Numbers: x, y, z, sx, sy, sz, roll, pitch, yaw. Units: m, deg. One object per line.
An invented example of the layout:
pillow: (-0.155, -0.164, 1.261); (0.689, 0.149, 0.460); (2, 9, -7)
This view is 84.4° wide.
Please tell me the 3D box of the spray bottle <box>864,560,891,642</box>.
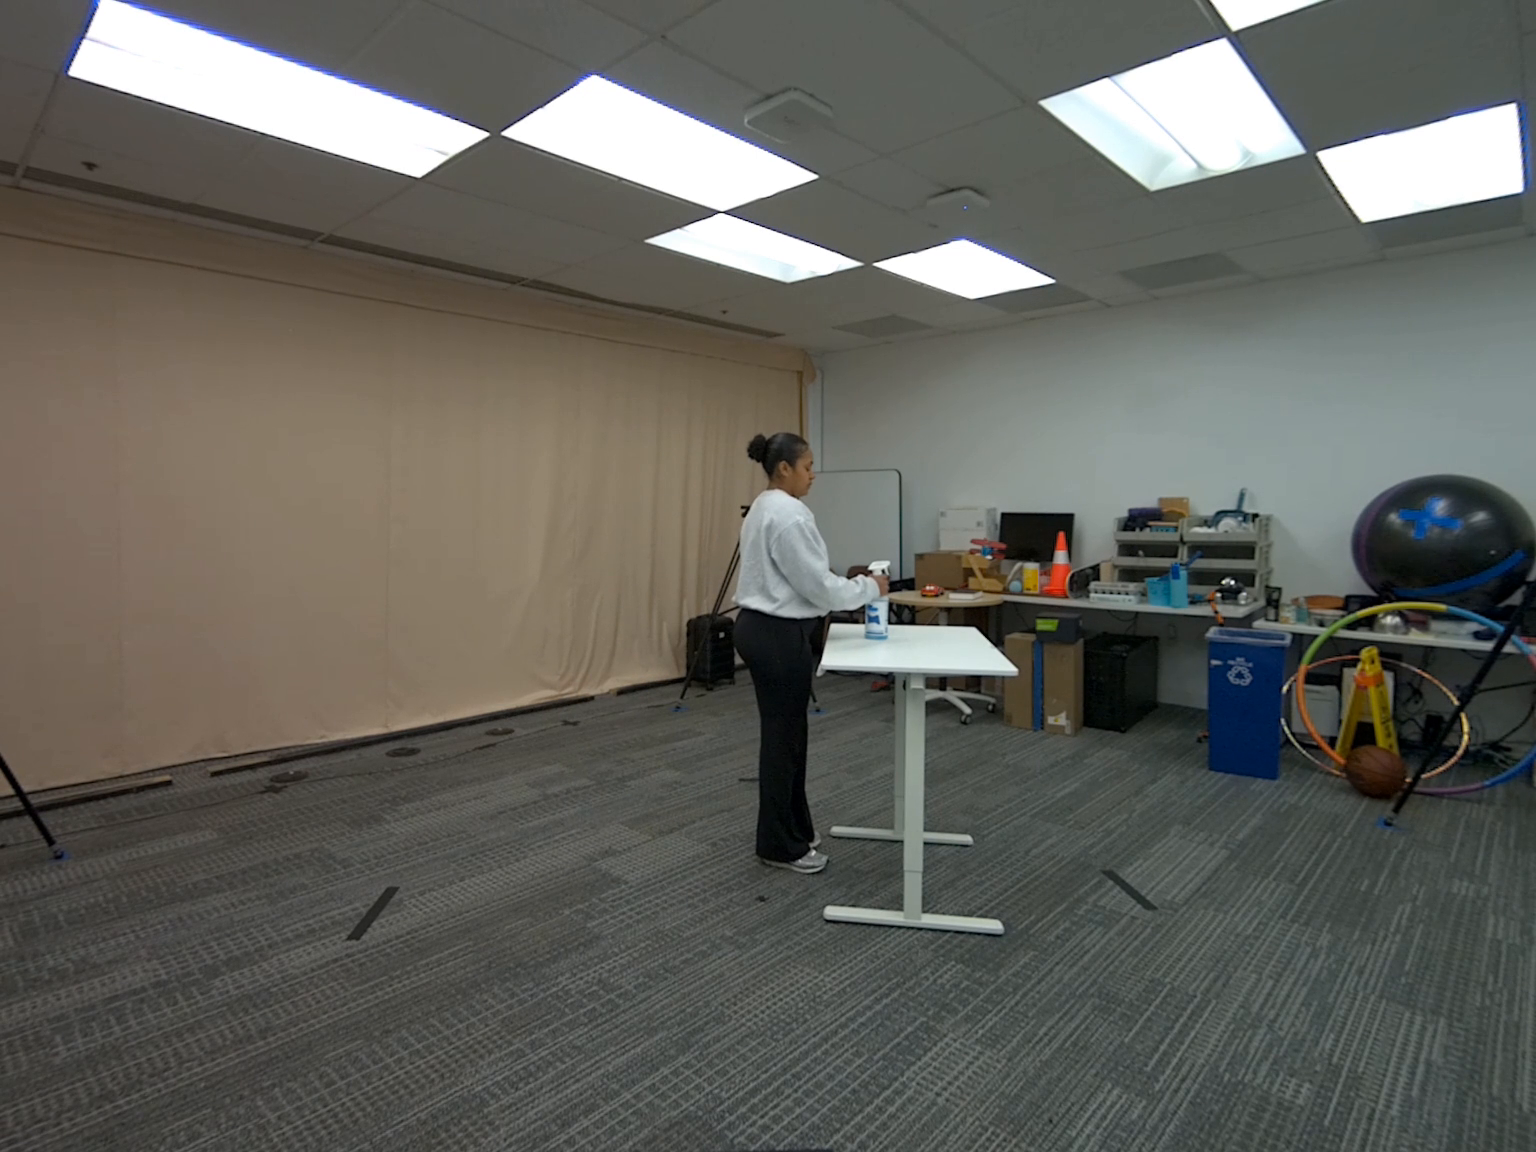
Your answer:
spray bottle: (0.421, 0.087, 3.215); (0.090, 0.297, 0.087); (3, 4, 5)
